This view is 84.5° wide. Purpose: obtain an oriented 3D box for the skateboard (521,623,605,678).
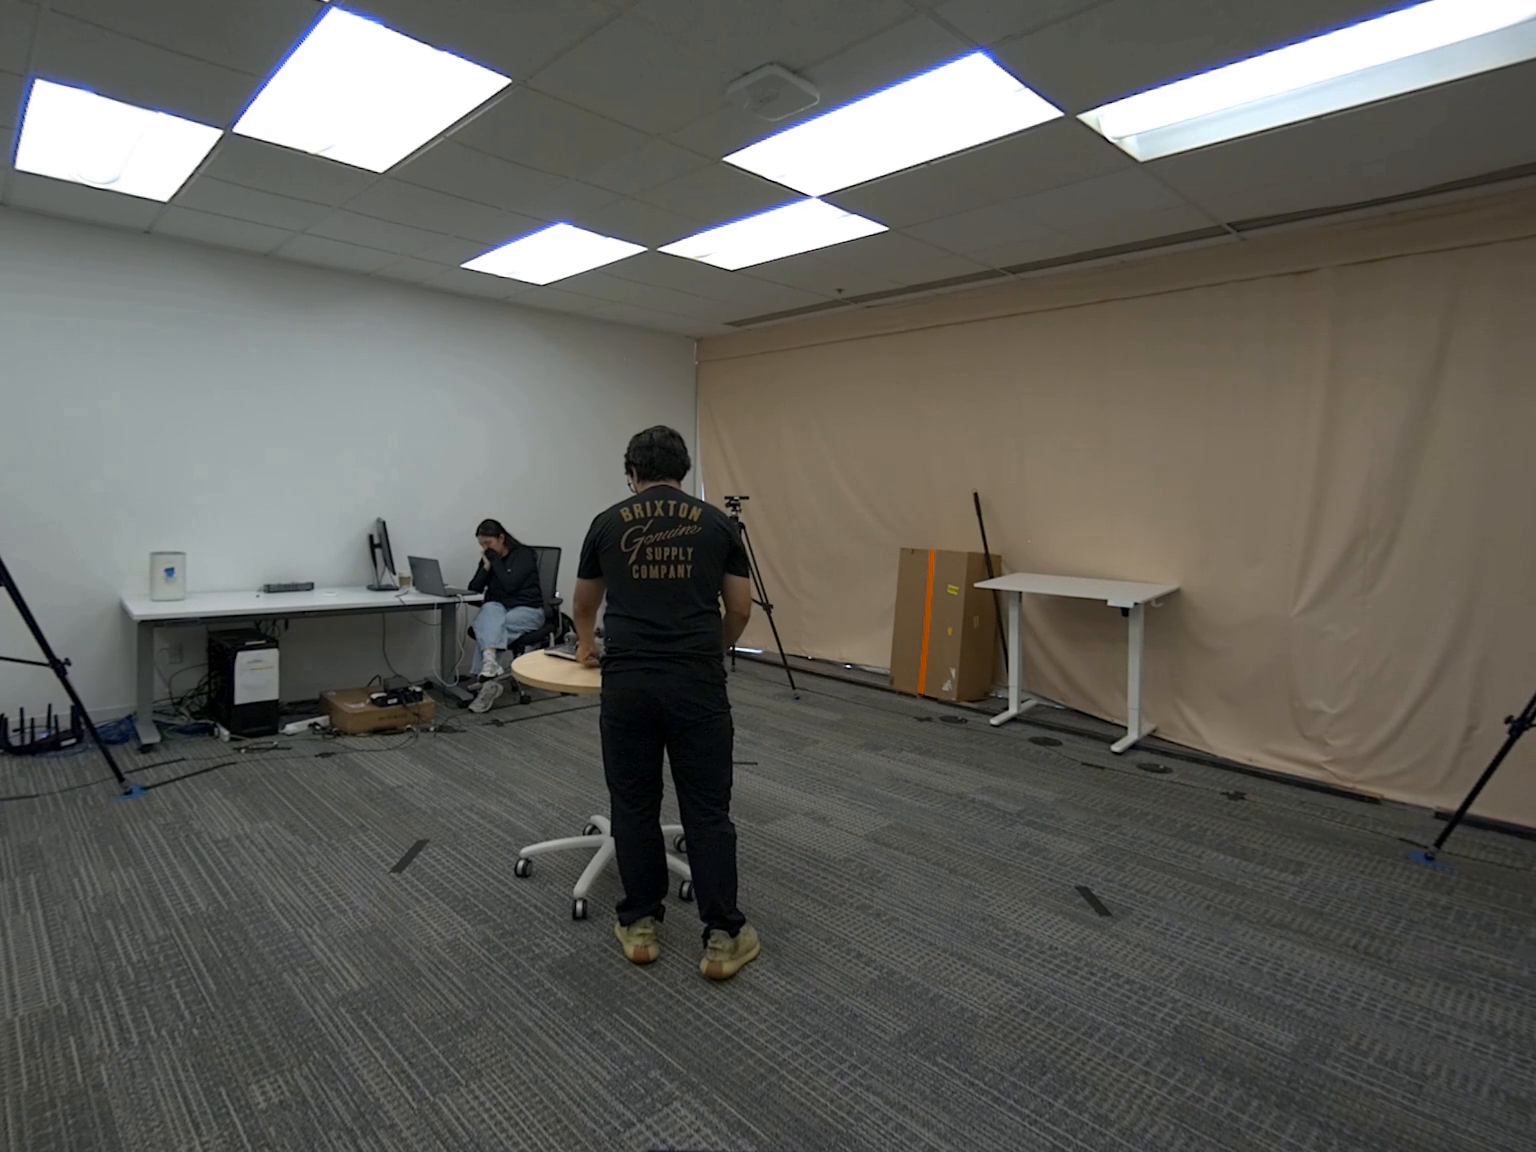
[{"bbox_3d":[-0.551,0.281,3.023,0.805,0.110,0.190,5,9,36],"label":"skateboard"}]
